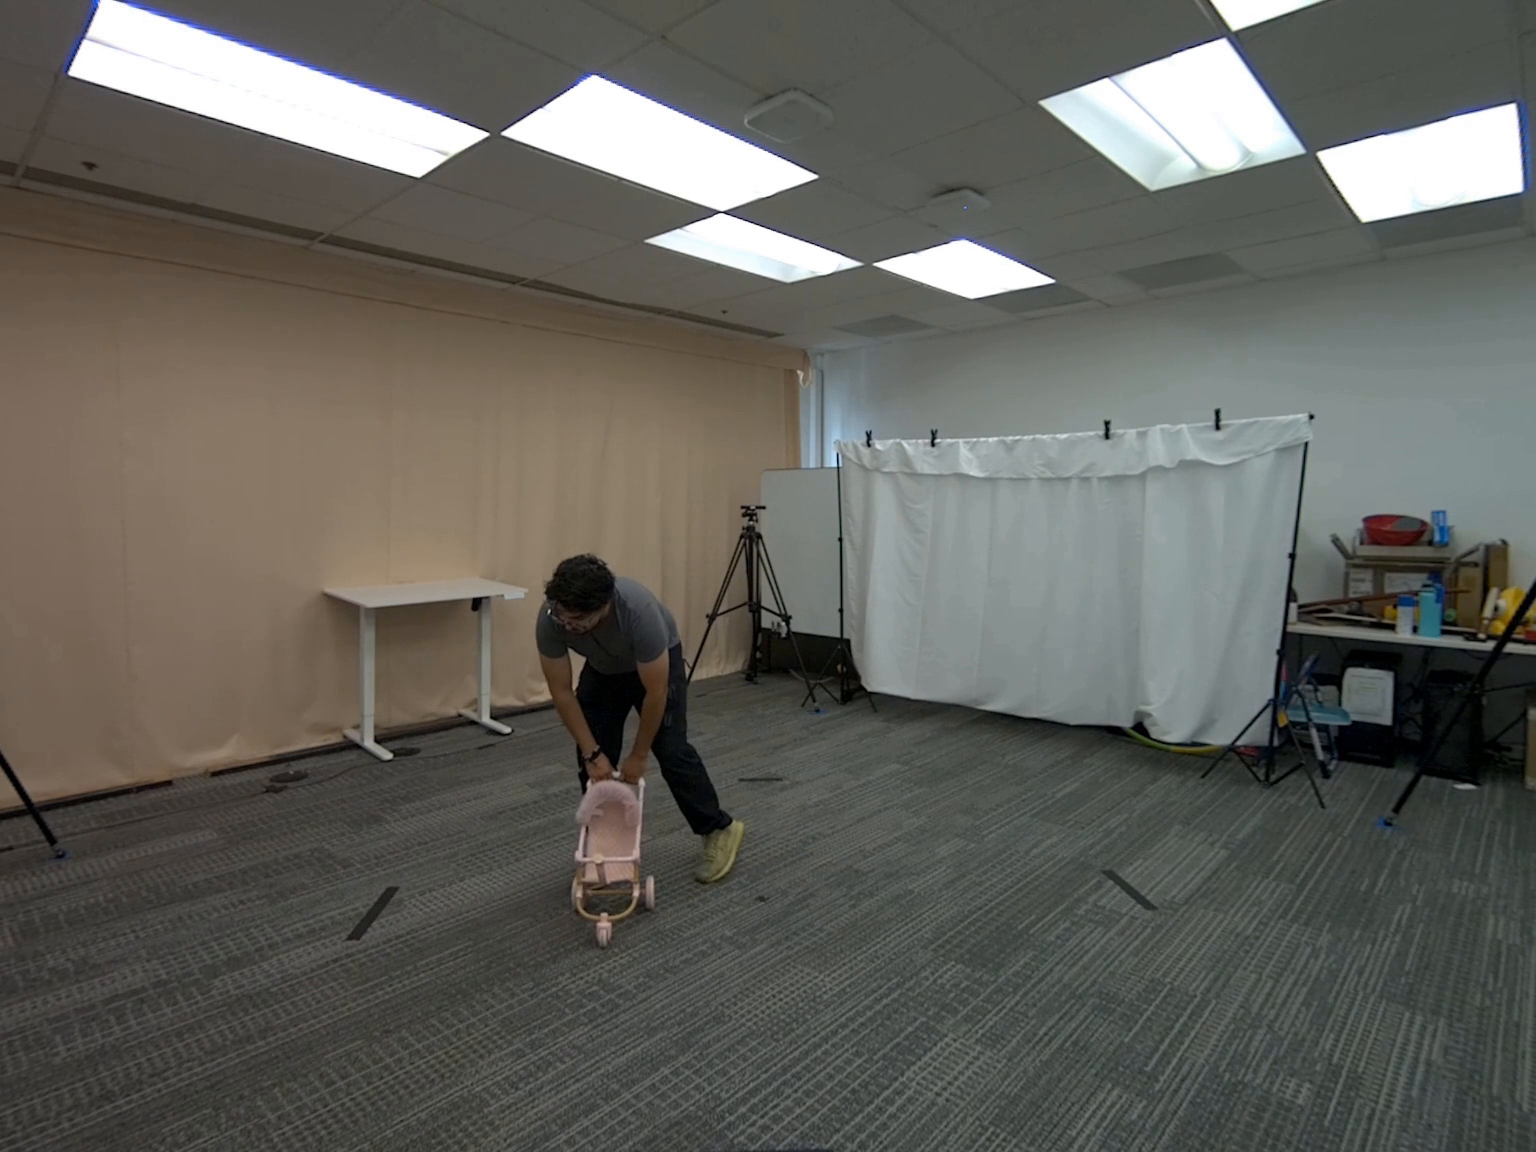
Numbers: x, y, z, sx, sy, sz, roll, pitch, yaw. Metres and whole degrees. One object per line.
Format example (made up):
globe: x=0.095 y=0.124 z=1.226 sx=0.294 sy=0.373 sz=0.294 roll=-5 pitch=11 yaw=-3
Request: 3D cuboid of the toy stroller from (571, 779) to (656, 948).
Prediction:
toy stroller: x=-0.531 y=0.932 z=2.845 sx=0.283 sy=0.540 sz=0.337 roll=-1 pitch=-14 yaw=3
